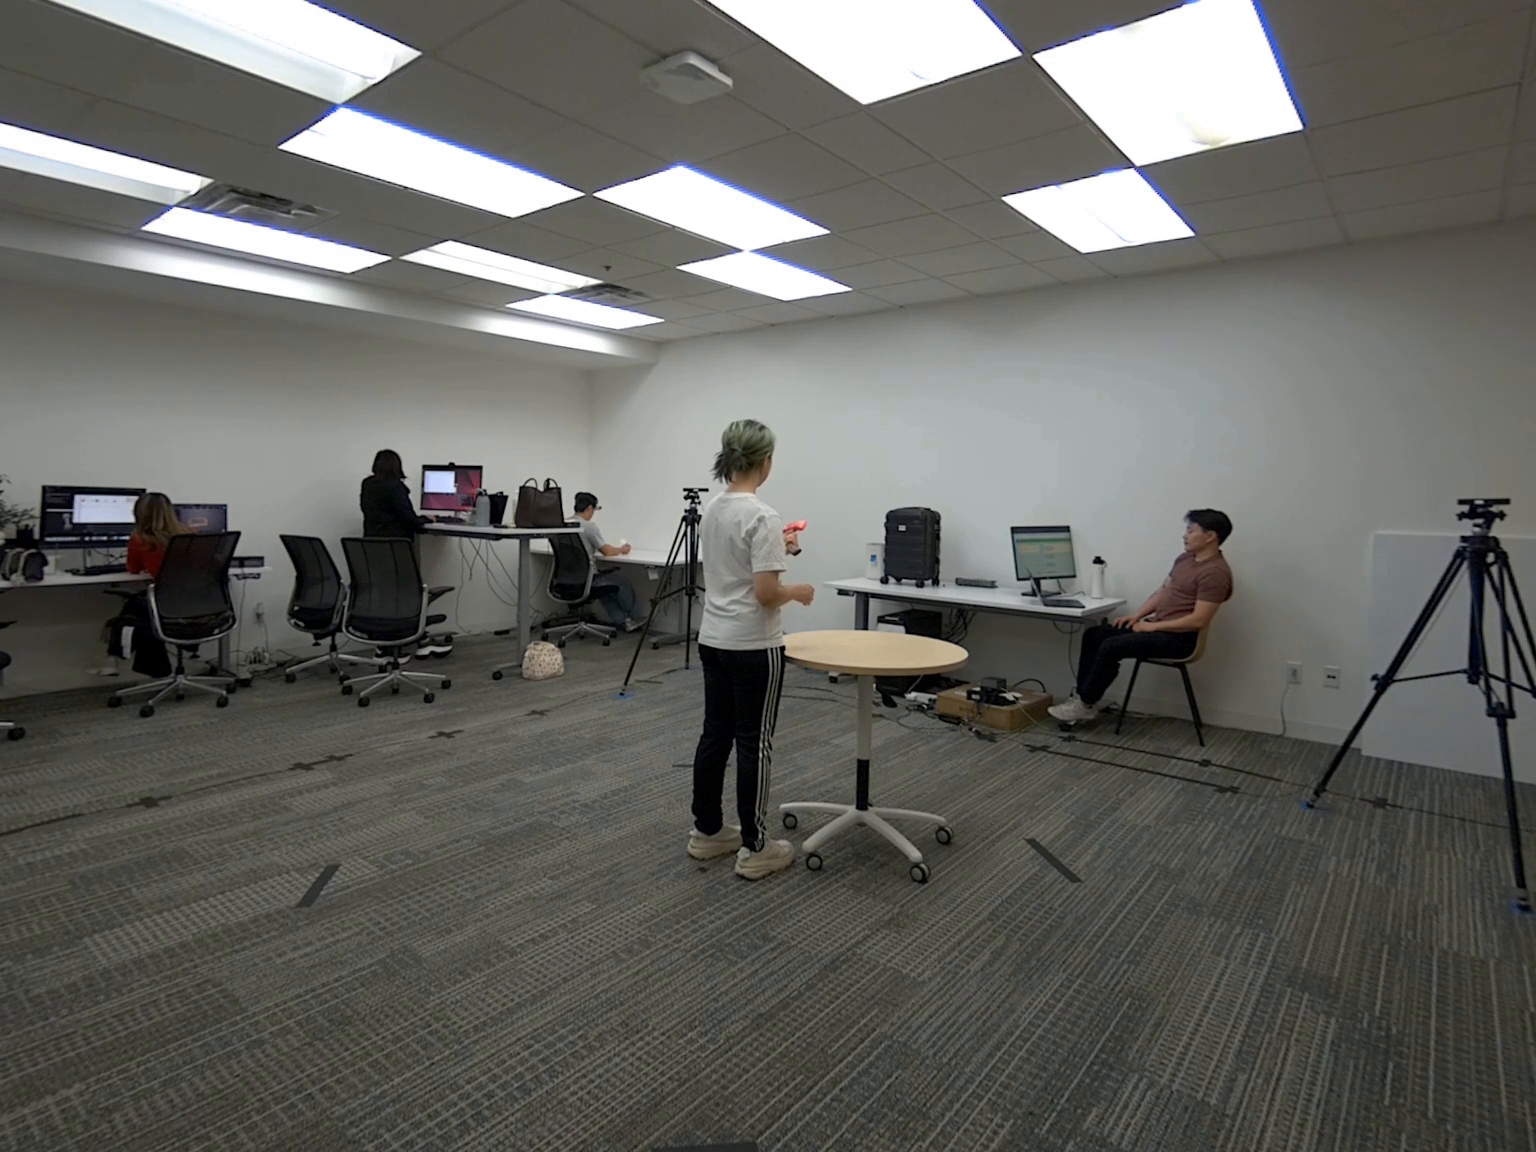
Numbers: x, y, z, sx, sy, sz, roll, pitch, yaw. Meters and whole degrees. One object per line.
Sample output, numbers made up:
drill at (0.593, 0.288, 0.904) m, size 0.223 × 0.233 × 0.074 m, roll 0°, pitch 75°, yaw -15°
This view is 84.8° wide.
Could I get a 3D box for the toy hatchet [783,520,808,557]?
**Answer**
toy hatchet at (0.109, -0.165, 3.415) m, size 0.131 × 0.029 × 0.278 m, roll -30°, pitch 25°, yaw -1°
